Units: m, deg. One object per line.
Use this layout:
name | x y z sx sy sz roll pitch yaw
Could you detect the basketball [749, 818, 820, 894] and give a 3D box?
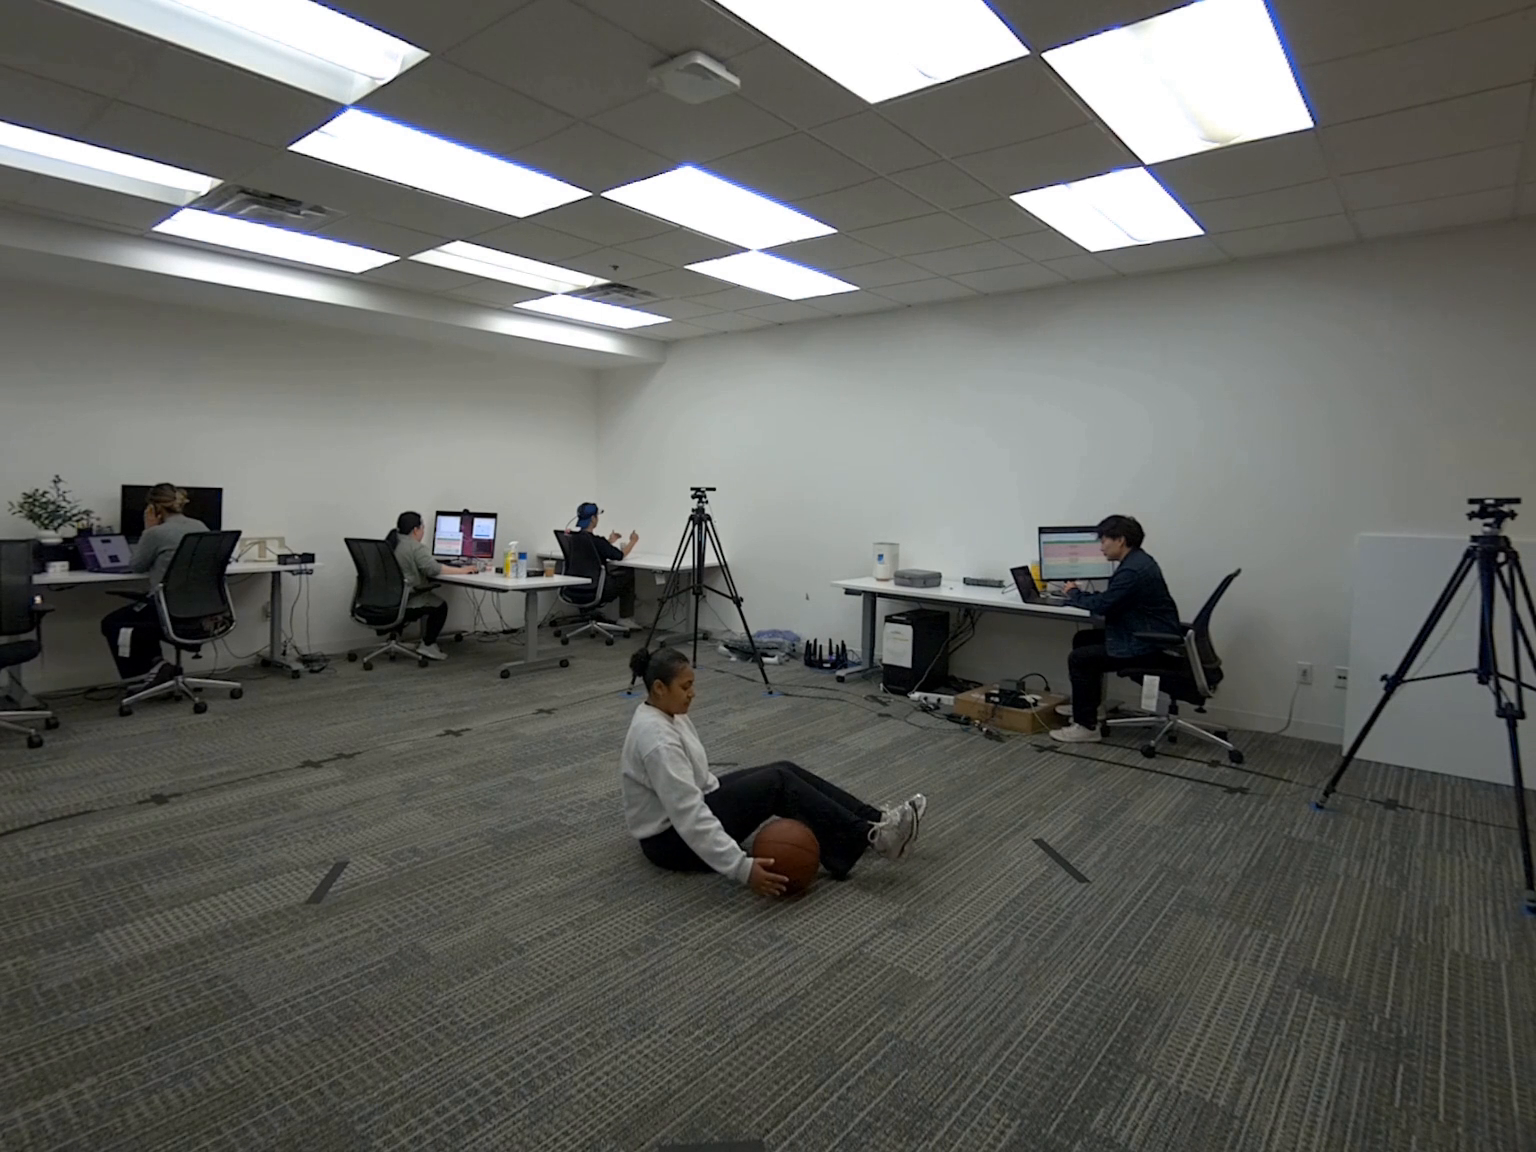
basketball | 0.052 0.972 2.965 0.235 0.235 0.237 1 4 -2
